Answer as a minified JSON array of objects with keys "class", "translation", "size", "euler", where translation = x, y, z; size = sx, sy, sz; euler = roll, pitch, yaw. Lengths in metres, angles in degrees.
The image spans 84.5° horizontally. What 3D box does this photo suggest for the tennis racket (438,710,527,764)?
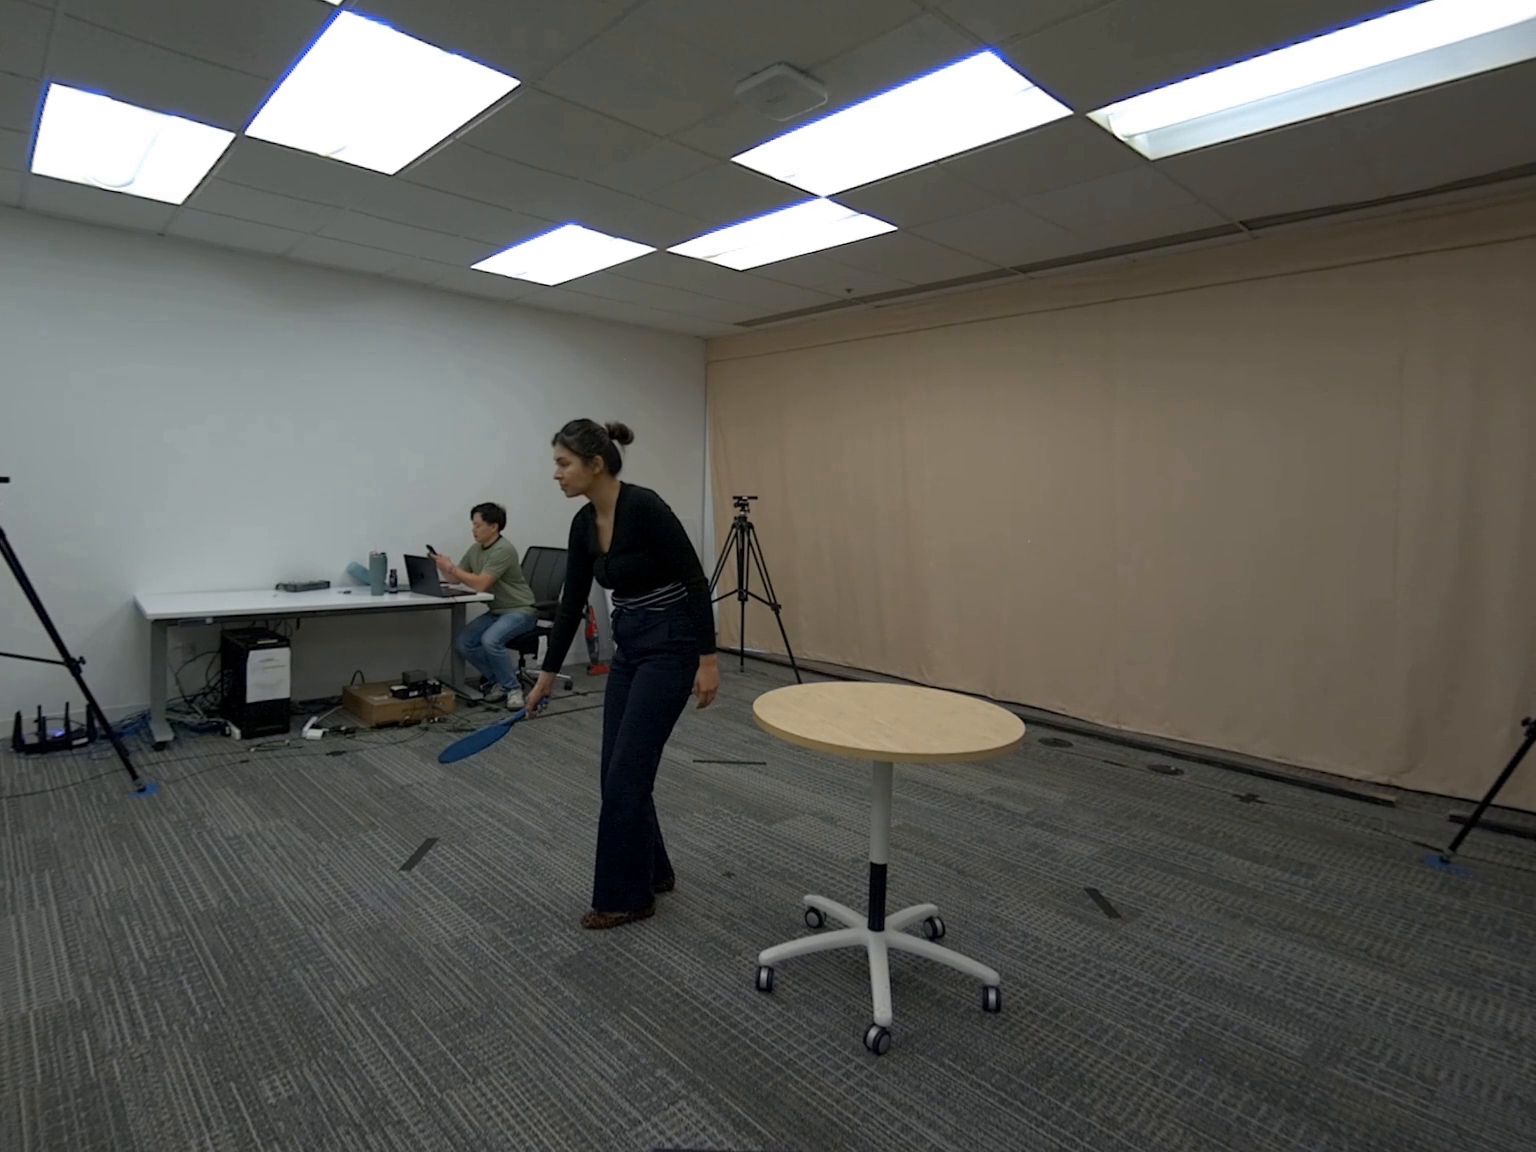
[{"class":"tennis racket","translation":[-0.922,0.532,2.865],"size":[0.432,0.032,0.210],"euler":[-30,-16,-5]}]
